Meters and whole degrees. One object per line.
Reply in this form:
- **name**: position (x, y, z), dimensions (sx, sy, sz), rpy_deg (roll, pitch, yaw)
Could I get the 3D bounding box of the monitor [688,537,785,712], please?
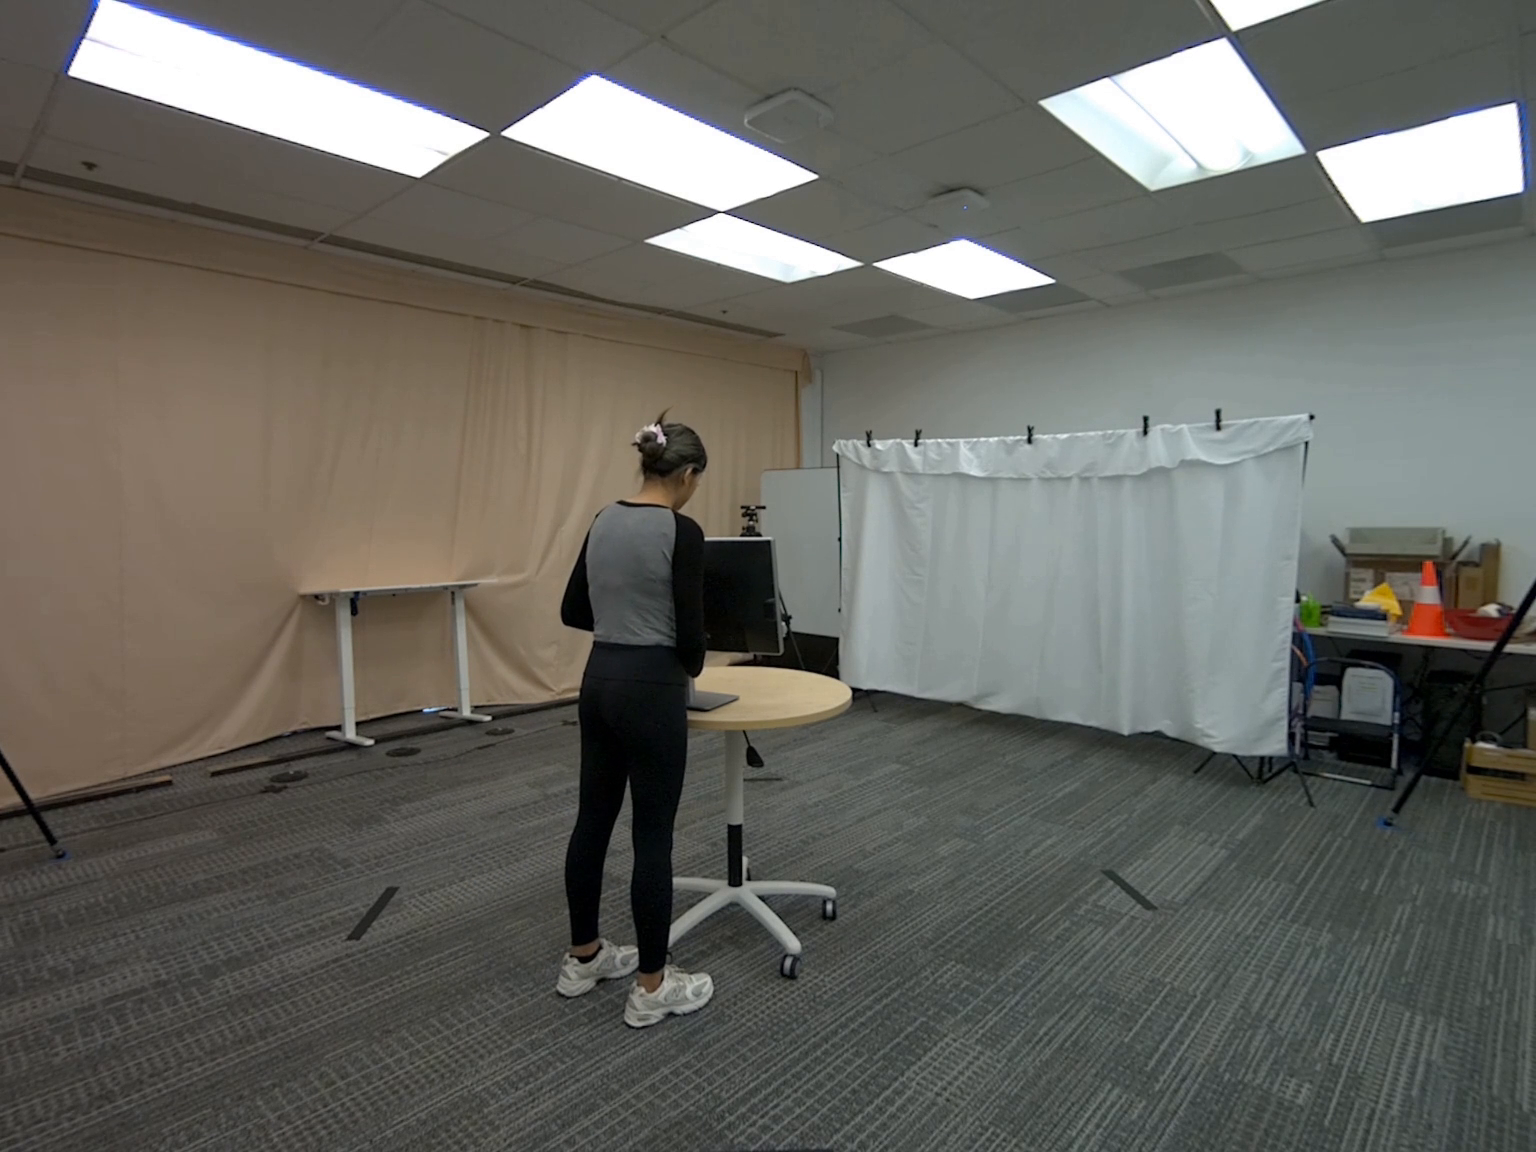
- **monitor**: position (-0.239, 0.144, 2.596), dimensions (0.552, 0.522, 0.183), rpy_deg (1, 2, 23)
